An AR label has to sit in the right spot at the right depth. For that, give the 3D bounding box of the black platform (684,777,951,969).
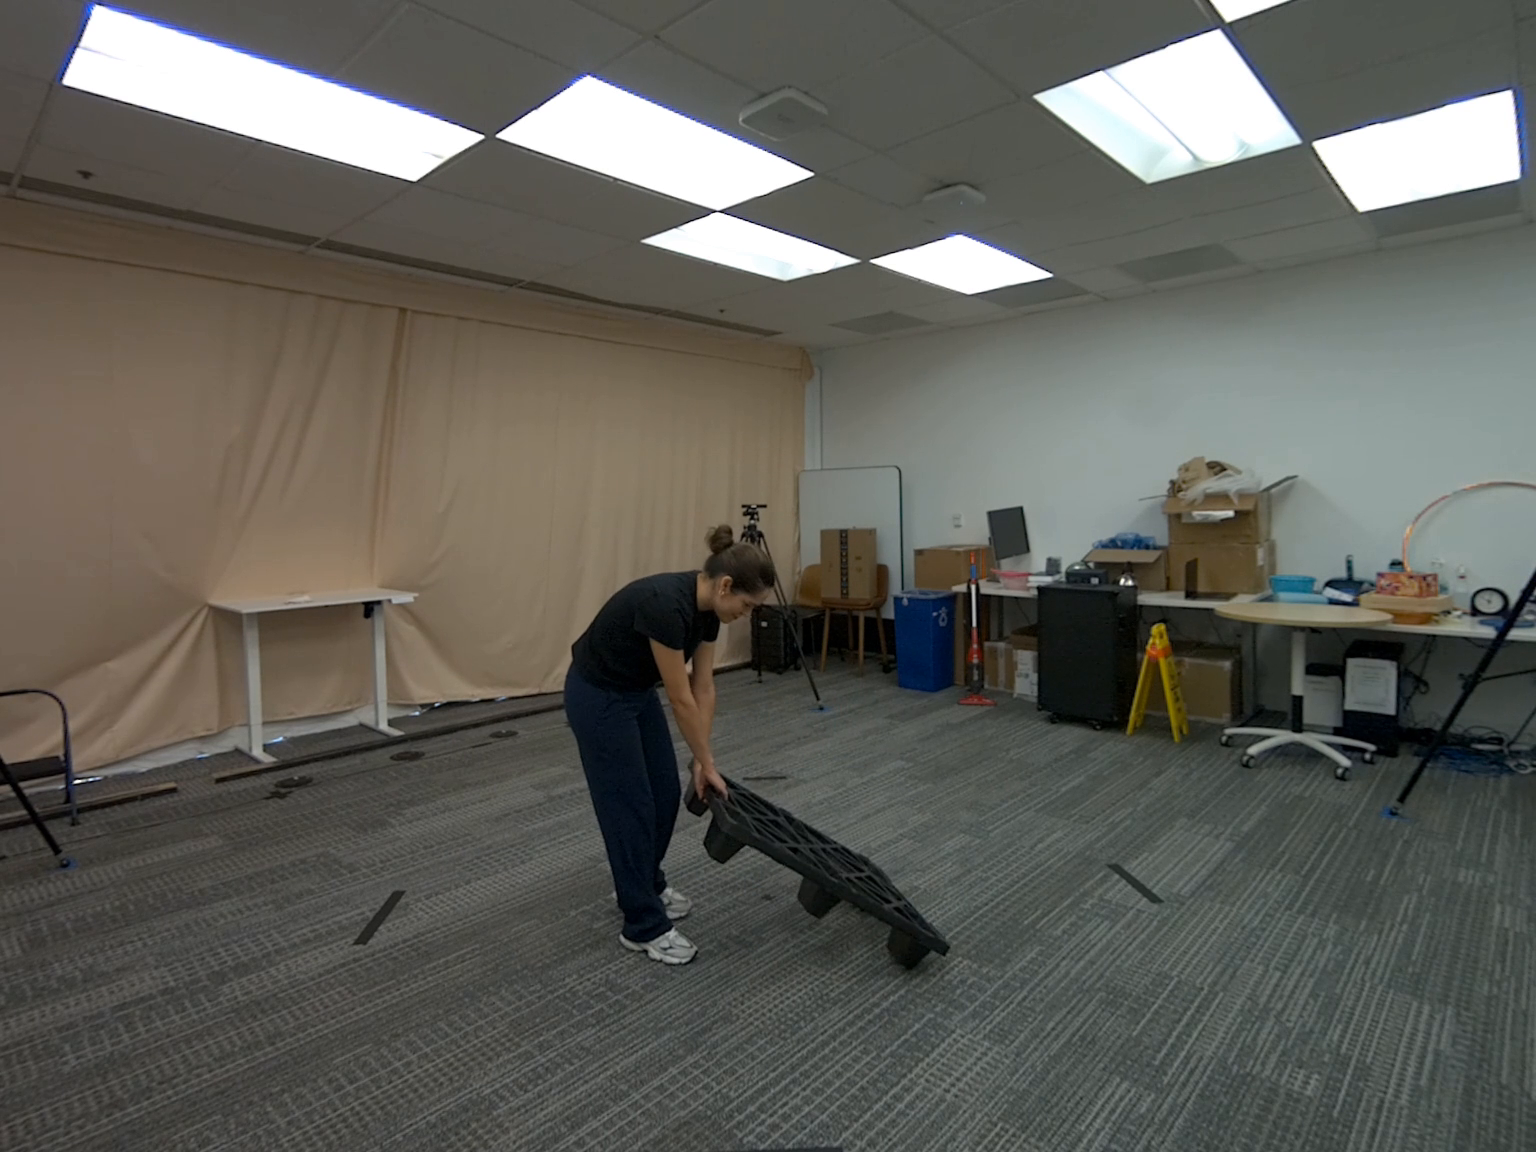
[{"bbox_3d":[0.118,0.906,2.667,0.794,0.143,0.614,34,-5,-13],"label":"black platform"}]
